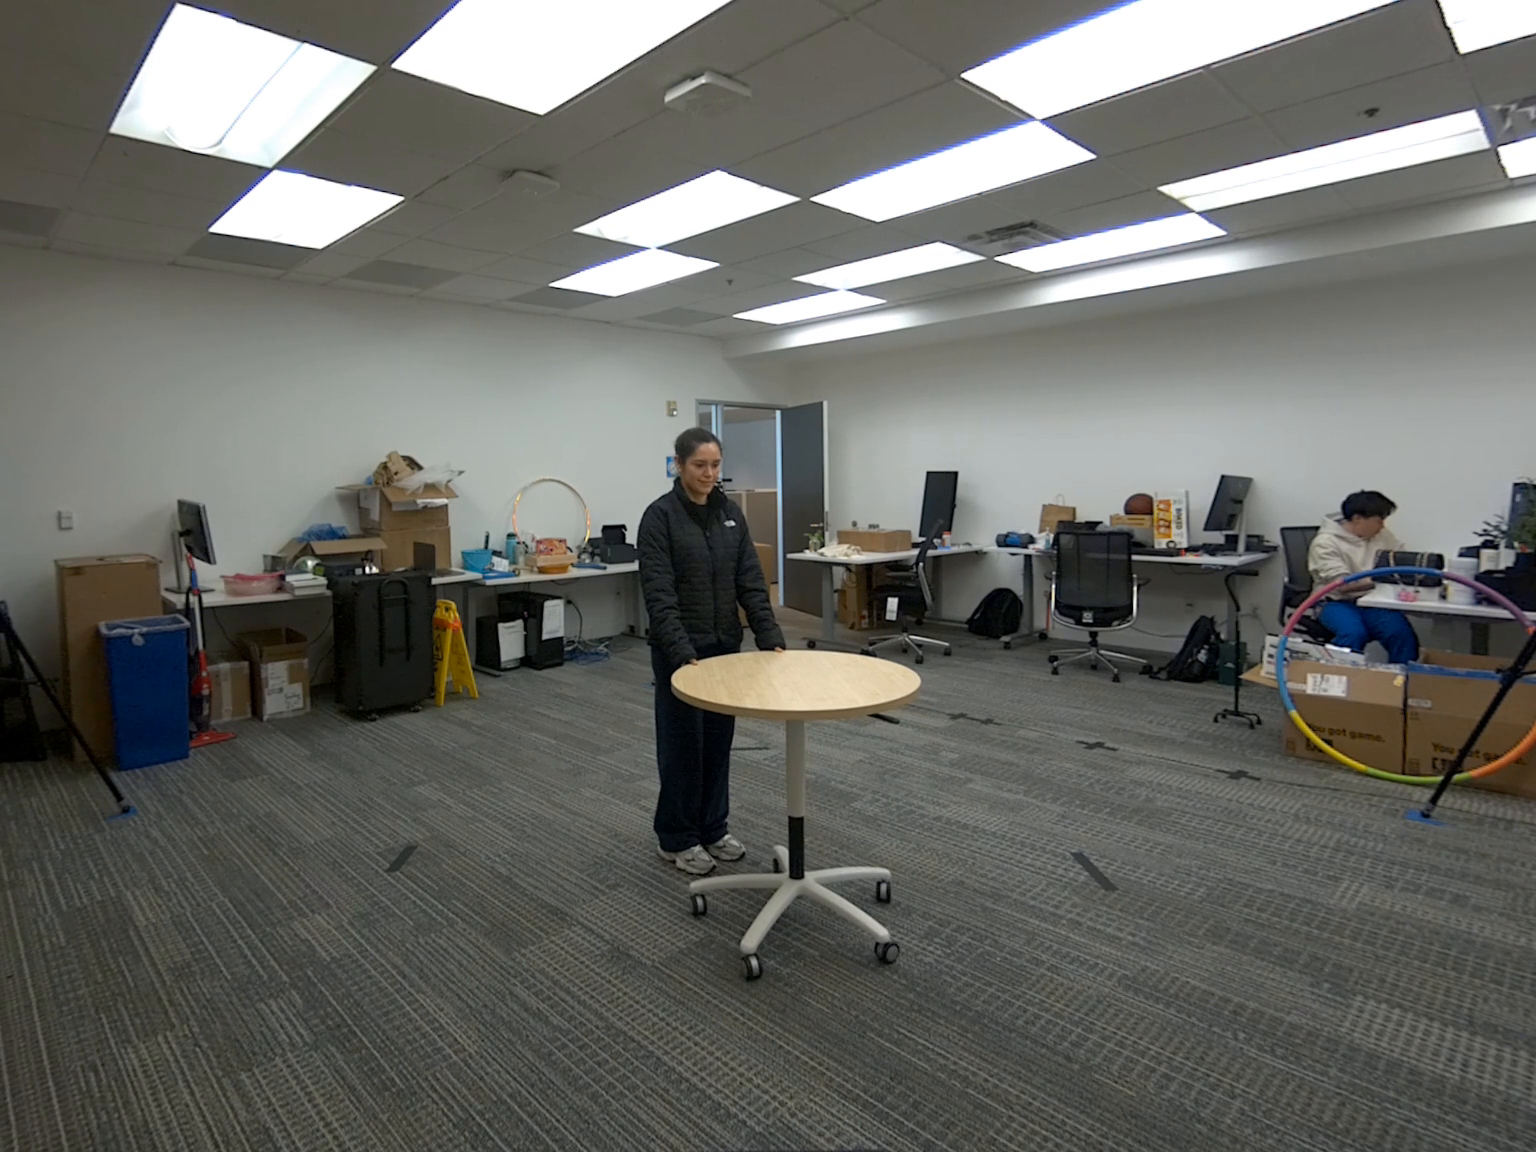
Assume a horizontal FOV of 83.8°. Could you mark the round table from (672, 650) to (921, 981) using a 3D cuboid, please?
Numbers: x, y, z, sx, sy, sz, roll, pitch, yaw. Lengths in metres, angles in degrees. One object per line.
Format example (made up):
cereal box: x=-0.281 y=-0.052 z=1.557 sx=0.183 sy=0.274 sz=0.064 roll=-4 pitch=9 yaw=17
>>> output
round table: x=0.094 y=0.696 z=2.699 sx=0.784 sy=0.783 sz=0.789 roll=-1 pitch=5 yaw=-2
